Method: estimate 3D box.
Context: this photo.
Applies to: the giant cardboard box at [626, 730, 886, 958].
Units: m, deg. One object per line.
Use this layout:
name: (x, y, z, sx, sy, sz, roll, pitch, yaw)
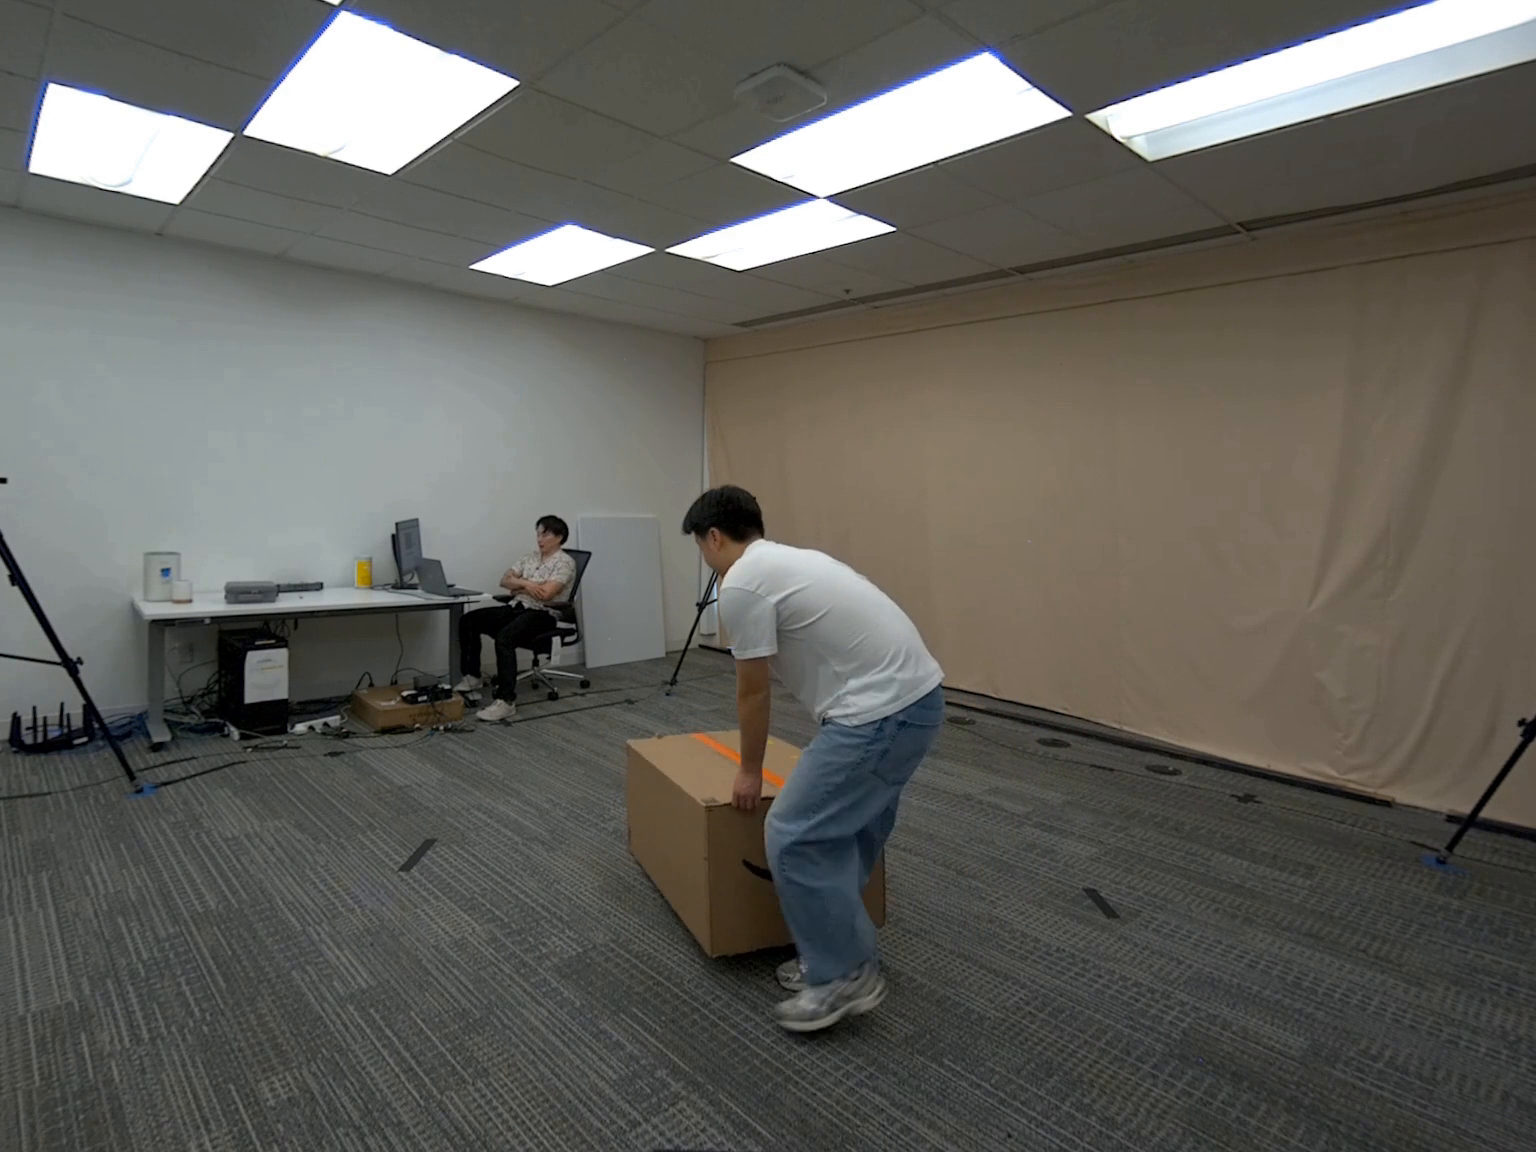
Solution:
giant cardboard box: (-0.106, 0.854, 2.952, 0.568, 0.426, 1.041, 0, 0, -22)
